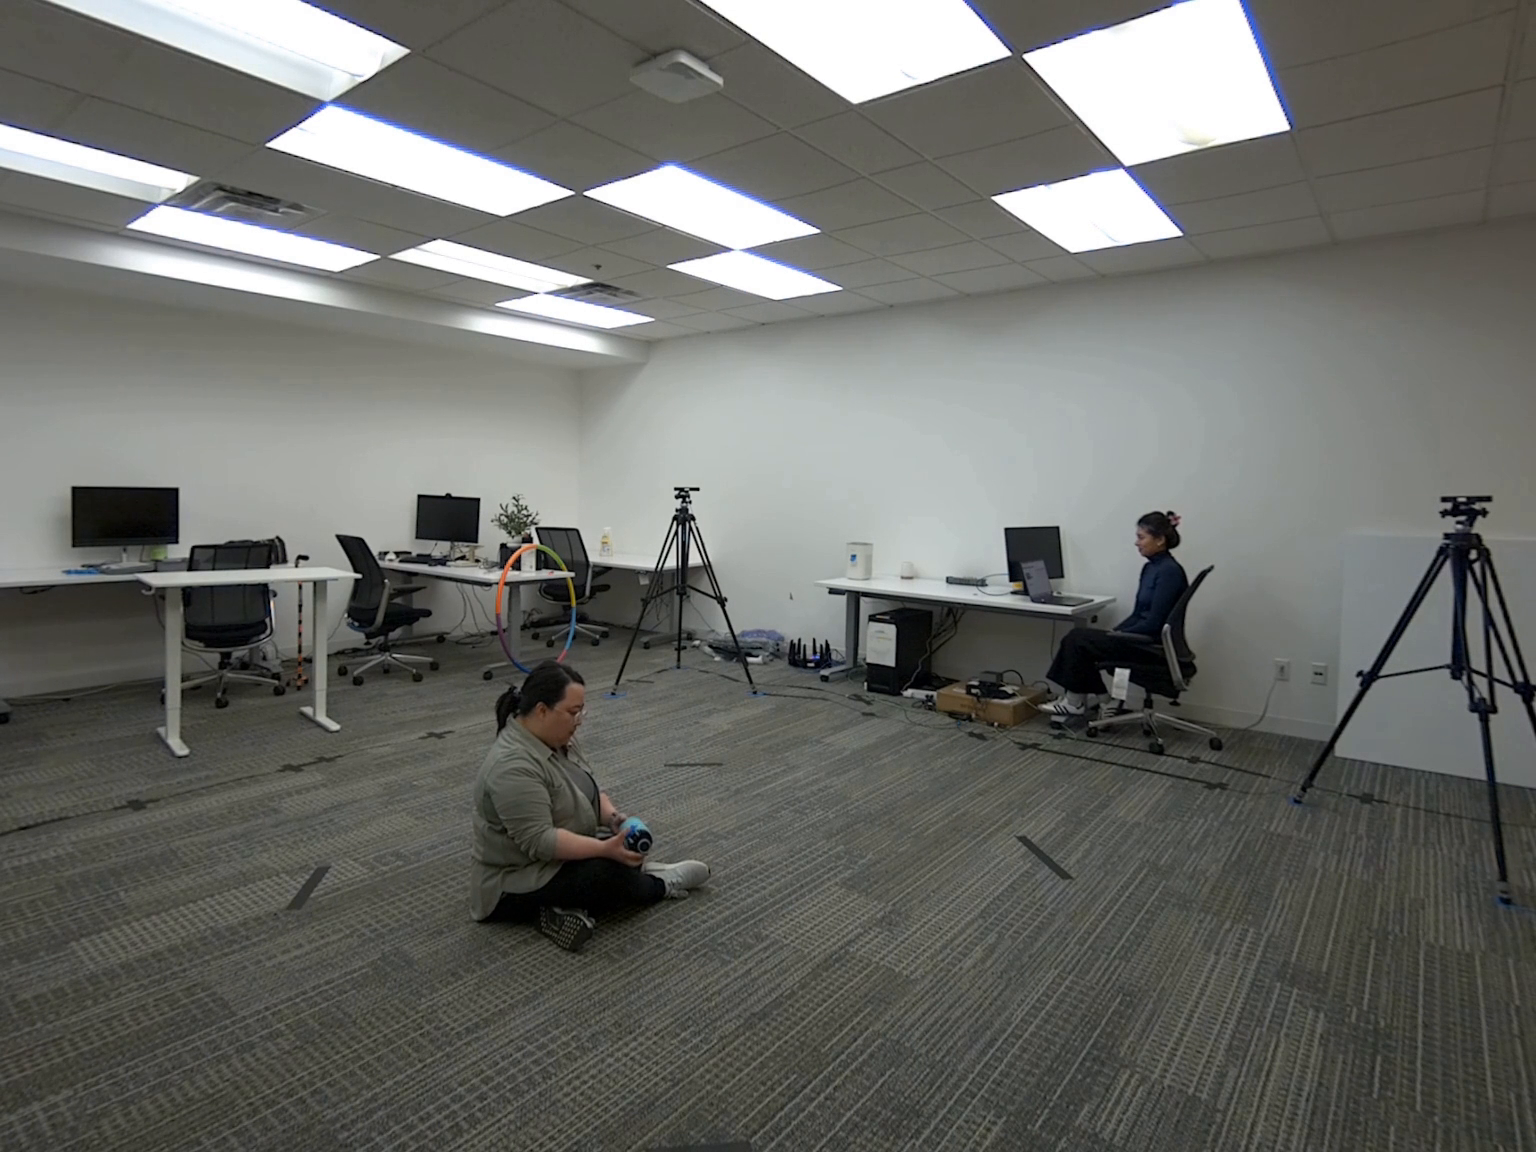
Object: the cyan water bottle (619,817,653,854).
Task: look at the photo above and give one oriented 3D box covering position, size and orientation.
[{"bbox_3d":[-0.438,0.847,2.729,0.091,0.093,0.283,0,-10,-12],"label":"cyan water bottle"}]
